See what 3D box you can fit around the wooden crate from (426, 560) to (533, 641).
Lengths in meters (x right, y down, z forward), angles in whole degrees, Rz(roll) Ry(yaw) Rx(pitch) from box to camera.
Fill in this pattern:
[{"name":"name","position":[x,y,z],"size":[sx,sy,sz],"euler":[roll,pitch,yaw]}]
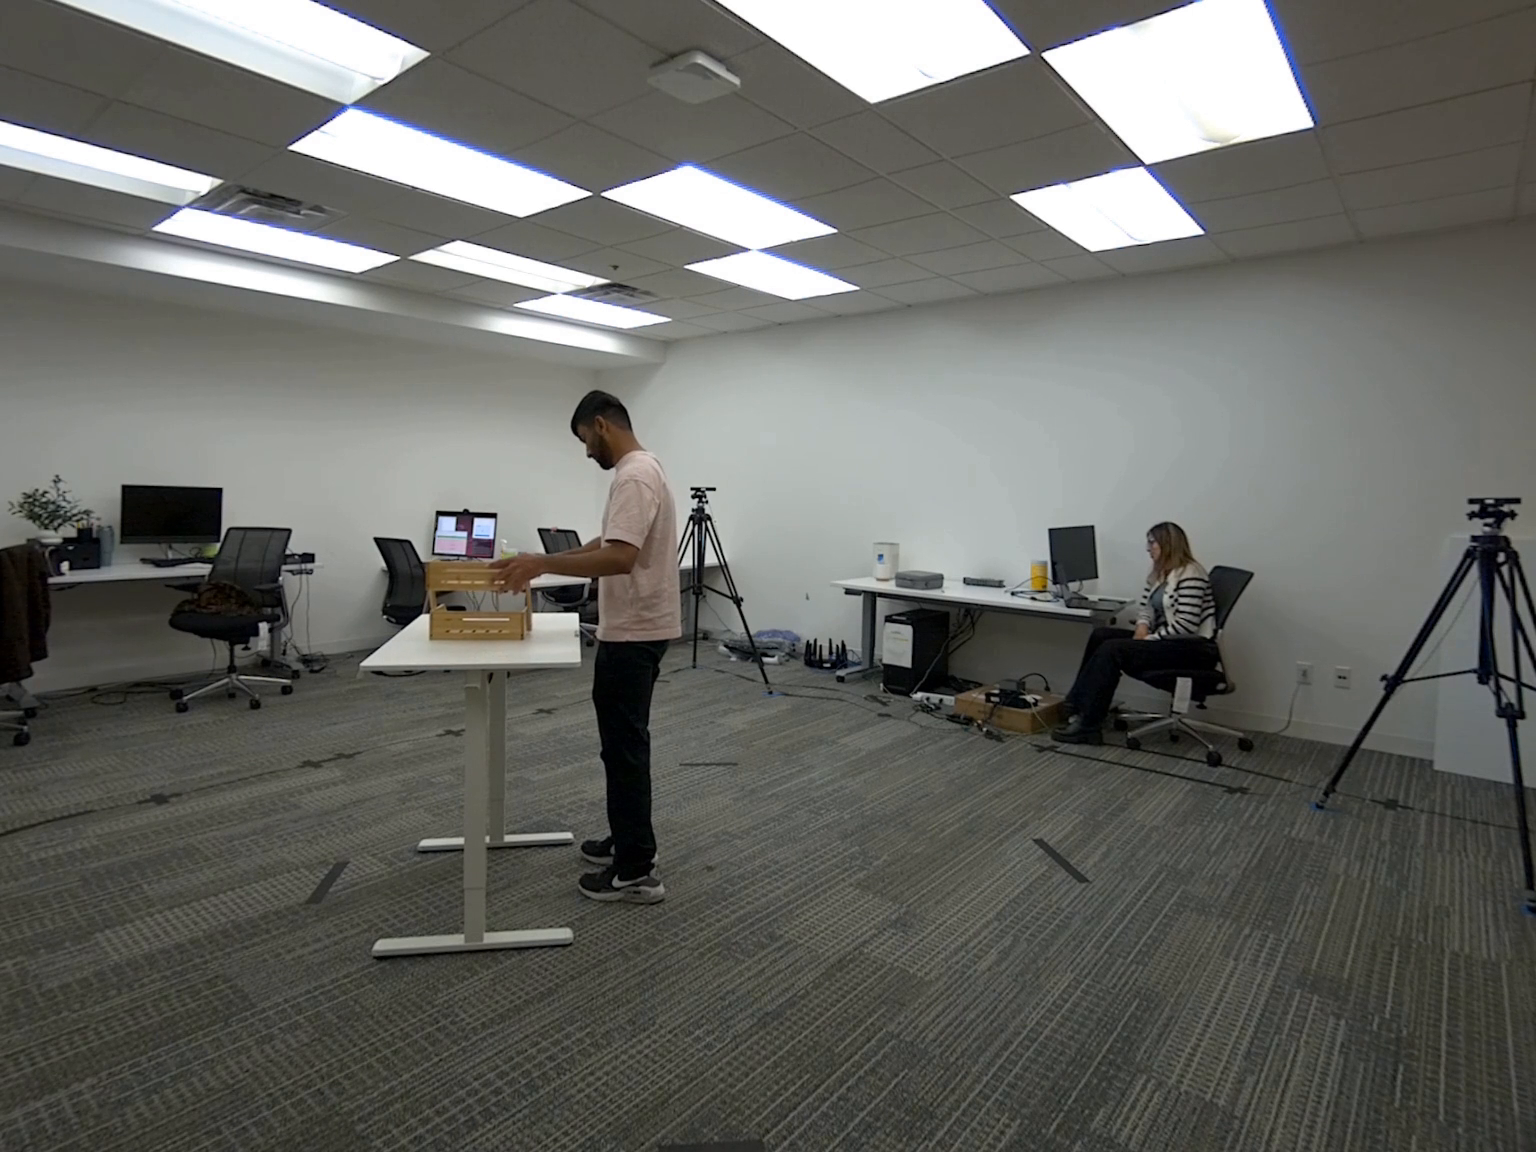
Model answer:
[{"name":"wooden crate","position":[-0.976,0.066,2.854],"size":[0.322,0.272,0.306],"euler":[0,5,-8]}]
